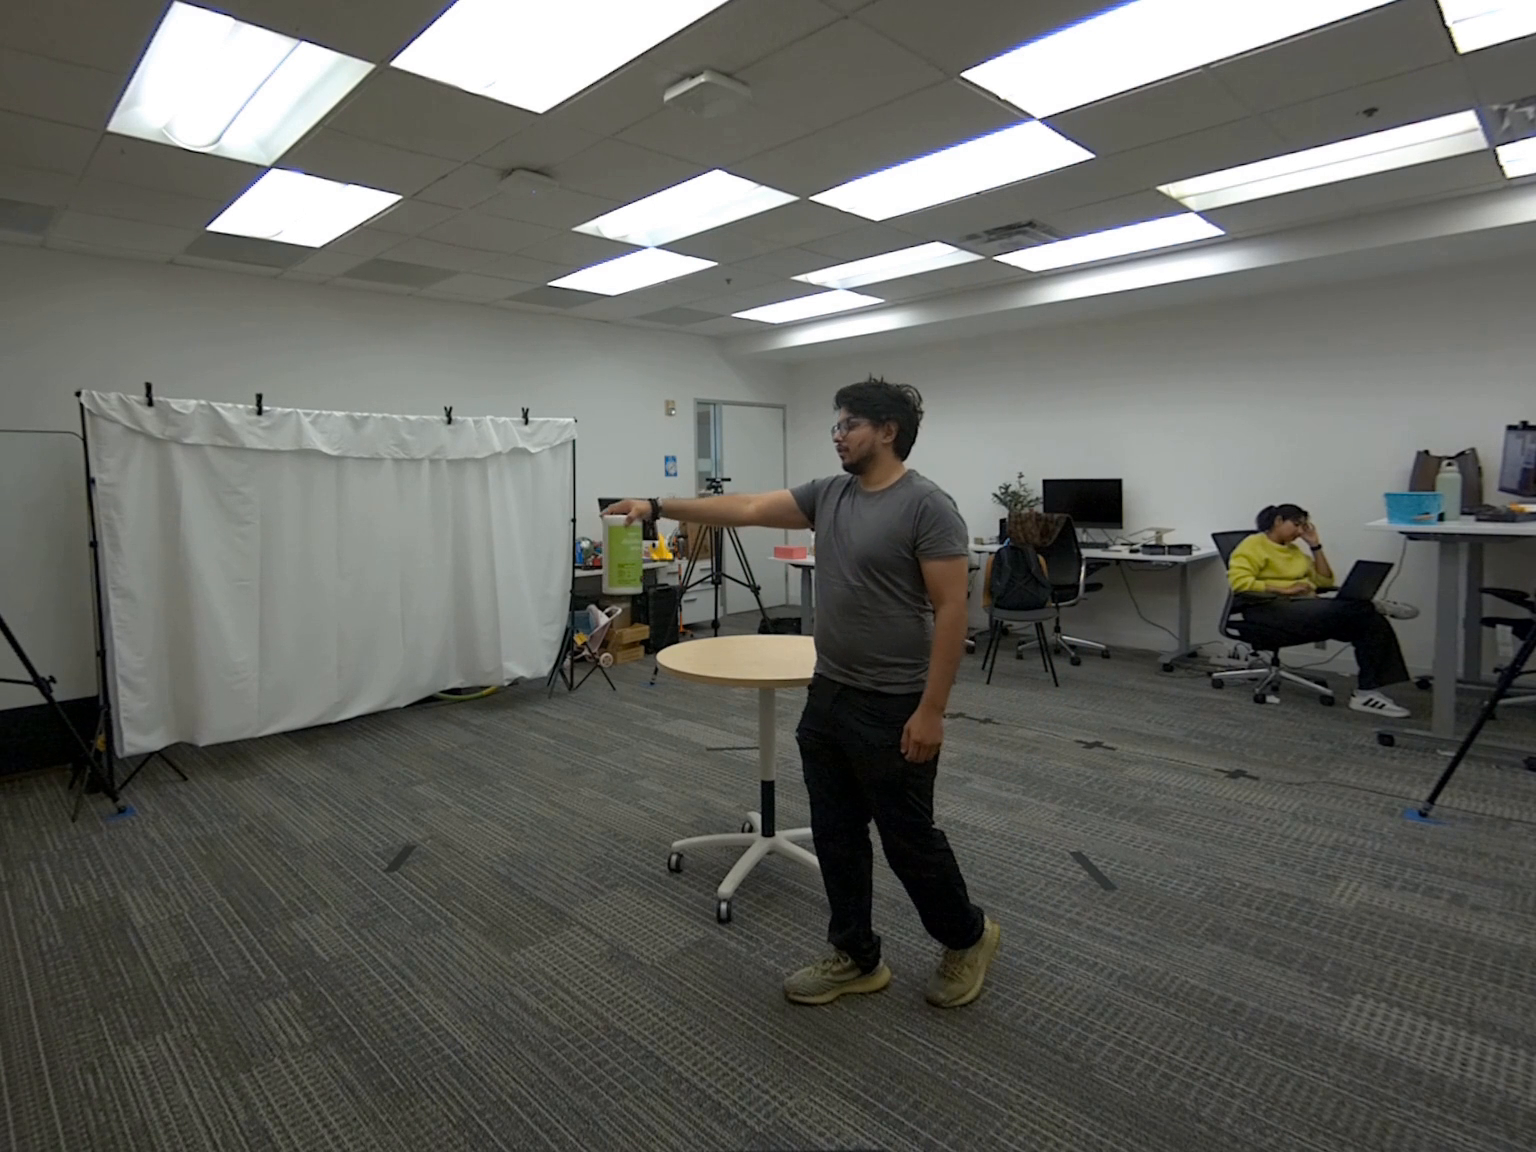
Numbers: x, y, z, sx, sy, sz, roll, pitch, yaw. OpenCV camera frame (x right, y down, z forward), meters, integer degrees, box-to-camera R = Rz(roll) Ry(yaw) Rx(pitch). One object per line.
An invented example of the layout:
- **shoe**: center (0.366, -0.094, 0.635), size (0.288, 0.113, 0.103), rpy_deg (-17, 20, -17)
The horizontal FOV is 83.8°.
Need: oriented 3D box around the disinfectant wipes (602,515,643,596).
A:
- **disinfectant wipes**: center (-0.389, -0.059, 2.340), size (0.118, 0.217, 0.118), rpy_deg (-1, 3, -2)
